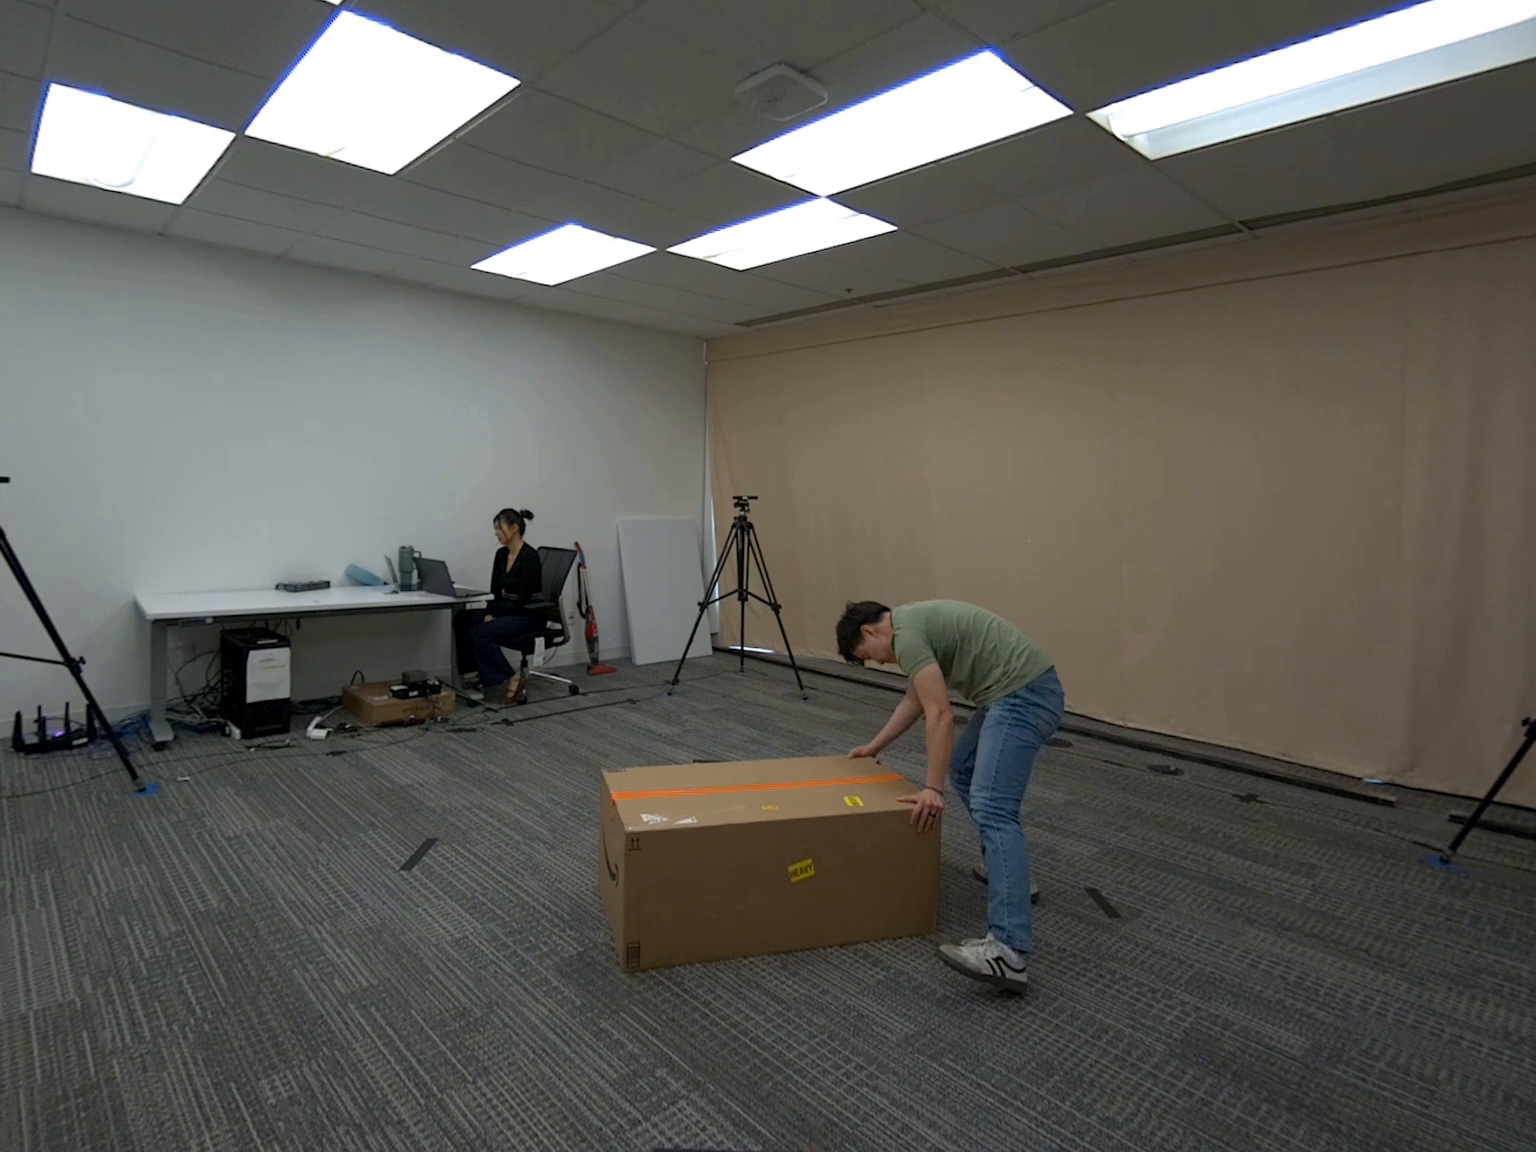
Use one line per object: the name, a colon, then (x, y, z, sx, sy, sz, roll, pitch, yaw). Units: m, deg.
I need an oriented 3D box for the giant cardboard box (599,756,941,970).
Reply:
giant cardboard box: (-0.030, 0.917, 2.841, 1.012, 0.425, 0.587, 0, 5, -17)
